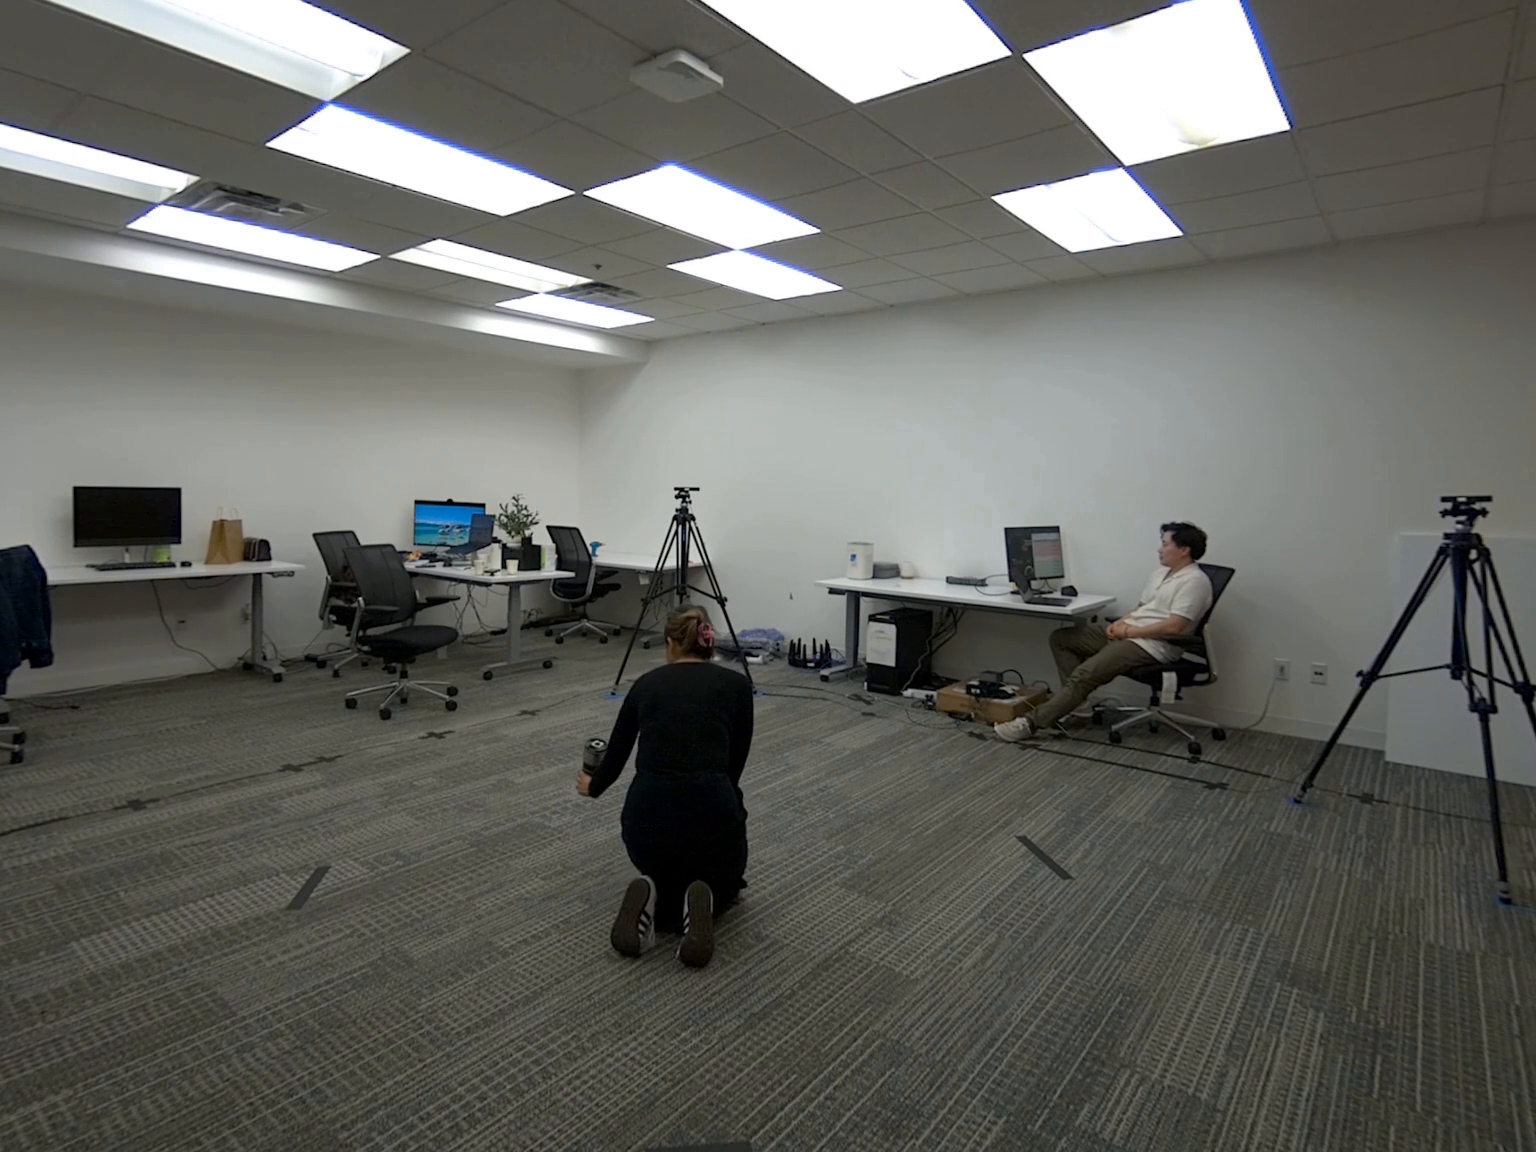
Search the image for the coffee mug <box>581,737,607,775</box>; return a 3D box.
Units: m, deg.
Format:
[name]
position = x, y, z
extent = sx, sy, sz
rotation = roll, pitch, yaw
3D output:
[coffee mug]
position = -0.675, 0.726, 3.224
extent = 0.087, 0.201, 0.124
rotation = 7, 14, -7
